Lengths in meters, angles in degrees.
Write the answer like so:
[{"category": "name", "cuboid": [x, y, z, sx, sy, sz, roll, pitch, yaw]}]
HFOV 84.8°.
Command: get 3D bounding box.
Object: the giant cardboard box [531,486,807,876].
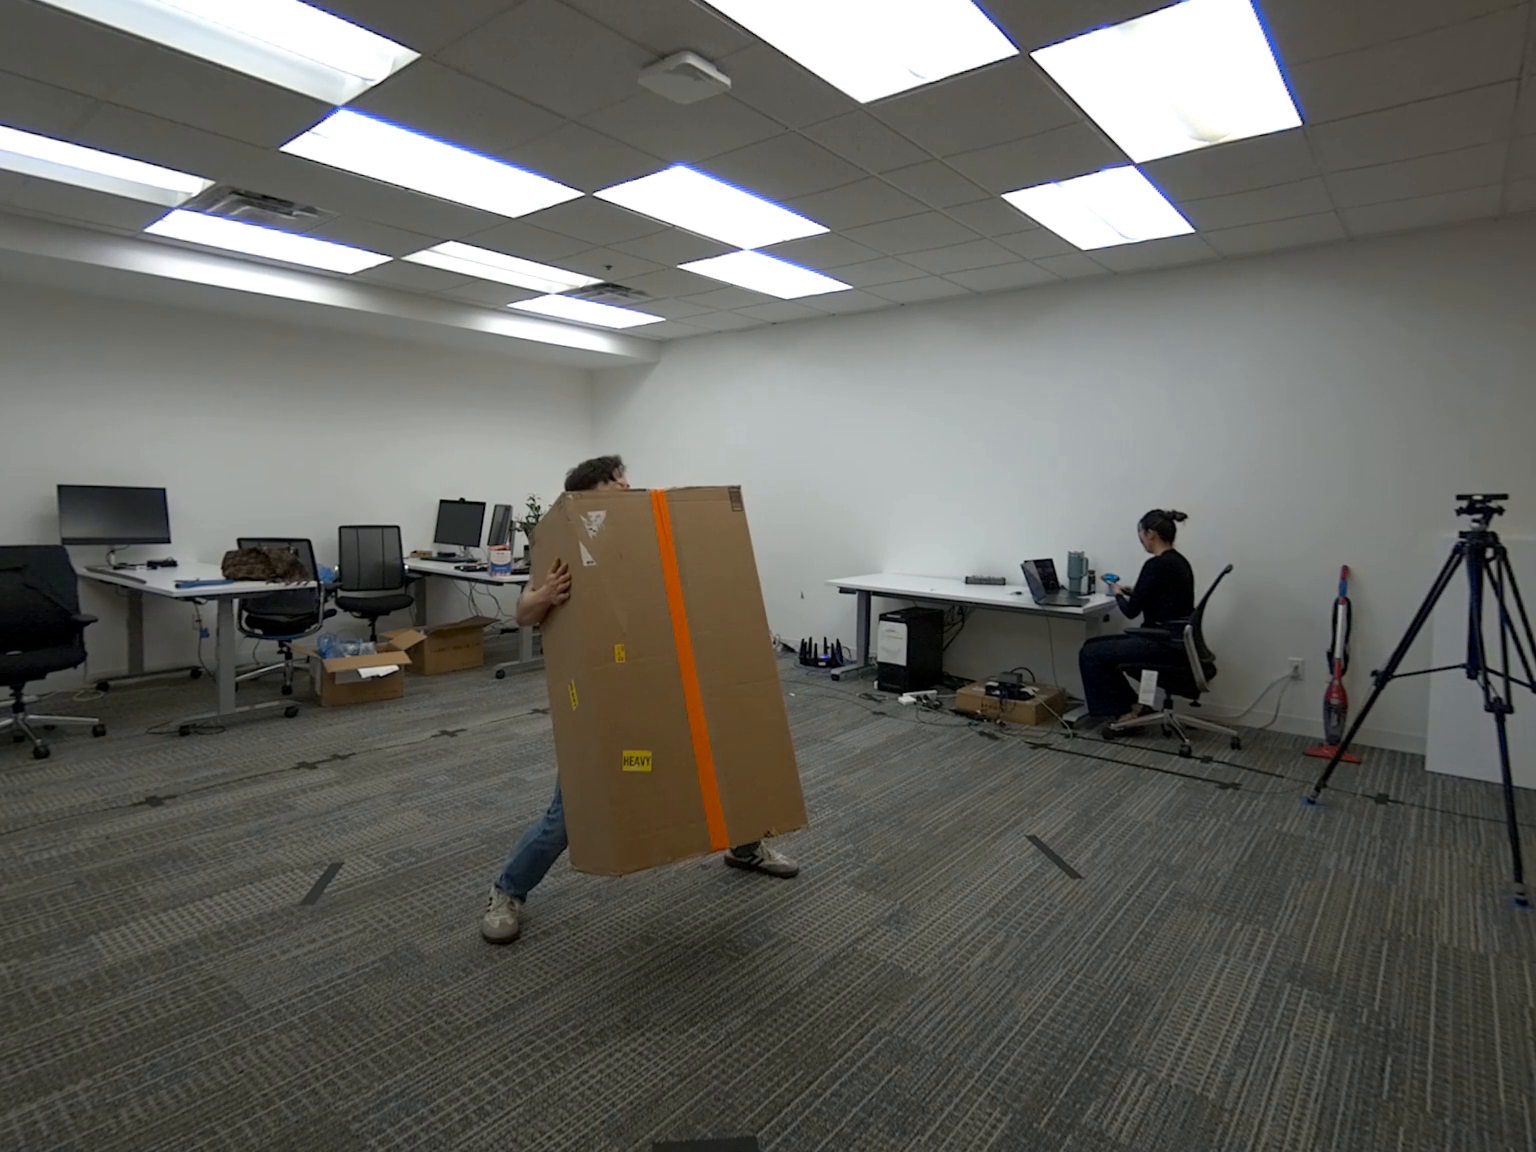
[{"category": "giant cardboard box", "cuboid": [-0.331, 0.273, 2.537, 0.563, 1.043, 0.429, -5, -16, -29]}]
